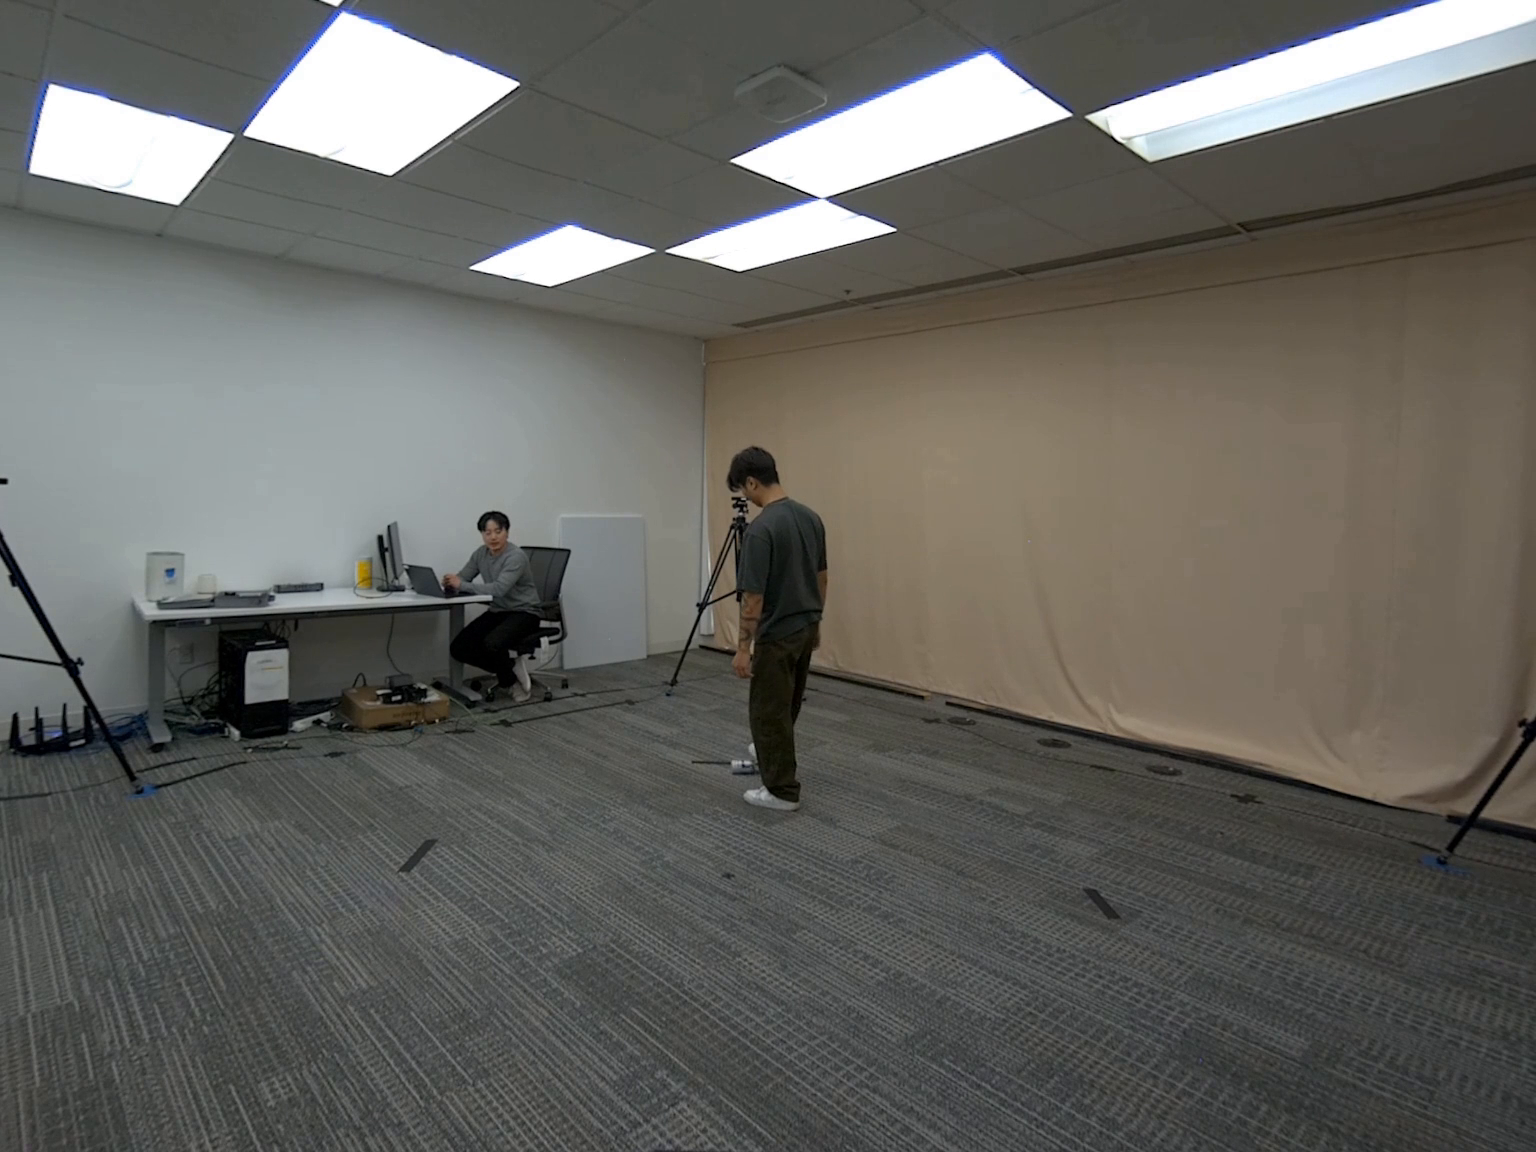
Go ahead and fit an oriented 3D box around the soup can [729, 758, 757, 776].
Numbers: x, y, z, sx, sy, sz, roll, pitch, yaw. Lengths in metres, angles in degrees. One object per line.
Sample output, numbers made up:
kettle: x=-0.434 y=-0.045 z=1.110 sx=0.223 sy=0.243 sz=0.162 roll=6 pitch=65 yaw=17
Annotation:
soup can: x=-0.125 y=0.962 z=4.284 sx=0.121 sy=0.067 sz=0.067 roll=3 pitch=4 yaw=0
